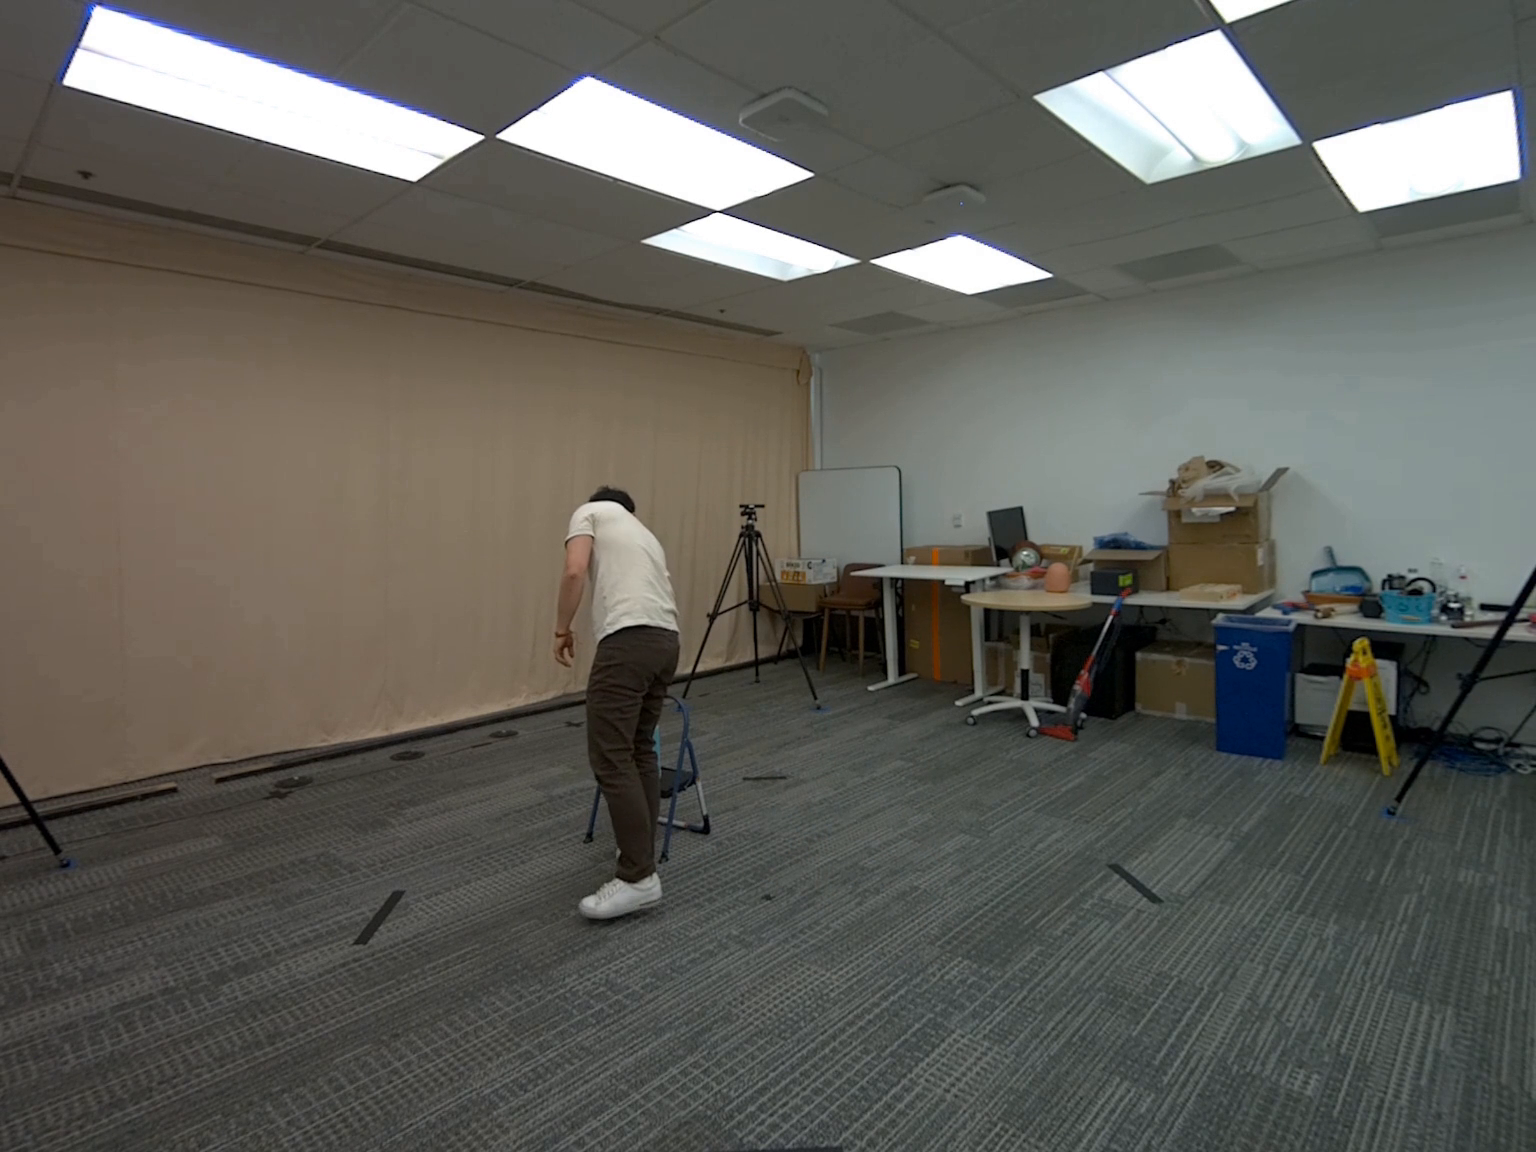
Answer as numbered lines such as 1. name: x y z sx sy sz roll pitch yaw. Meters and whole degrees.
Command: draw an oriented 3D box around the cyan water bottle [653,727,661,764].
1. cyan water bottle: -0.486 0.701 3.497 0.092 0.283 0.092 0 3 -2
